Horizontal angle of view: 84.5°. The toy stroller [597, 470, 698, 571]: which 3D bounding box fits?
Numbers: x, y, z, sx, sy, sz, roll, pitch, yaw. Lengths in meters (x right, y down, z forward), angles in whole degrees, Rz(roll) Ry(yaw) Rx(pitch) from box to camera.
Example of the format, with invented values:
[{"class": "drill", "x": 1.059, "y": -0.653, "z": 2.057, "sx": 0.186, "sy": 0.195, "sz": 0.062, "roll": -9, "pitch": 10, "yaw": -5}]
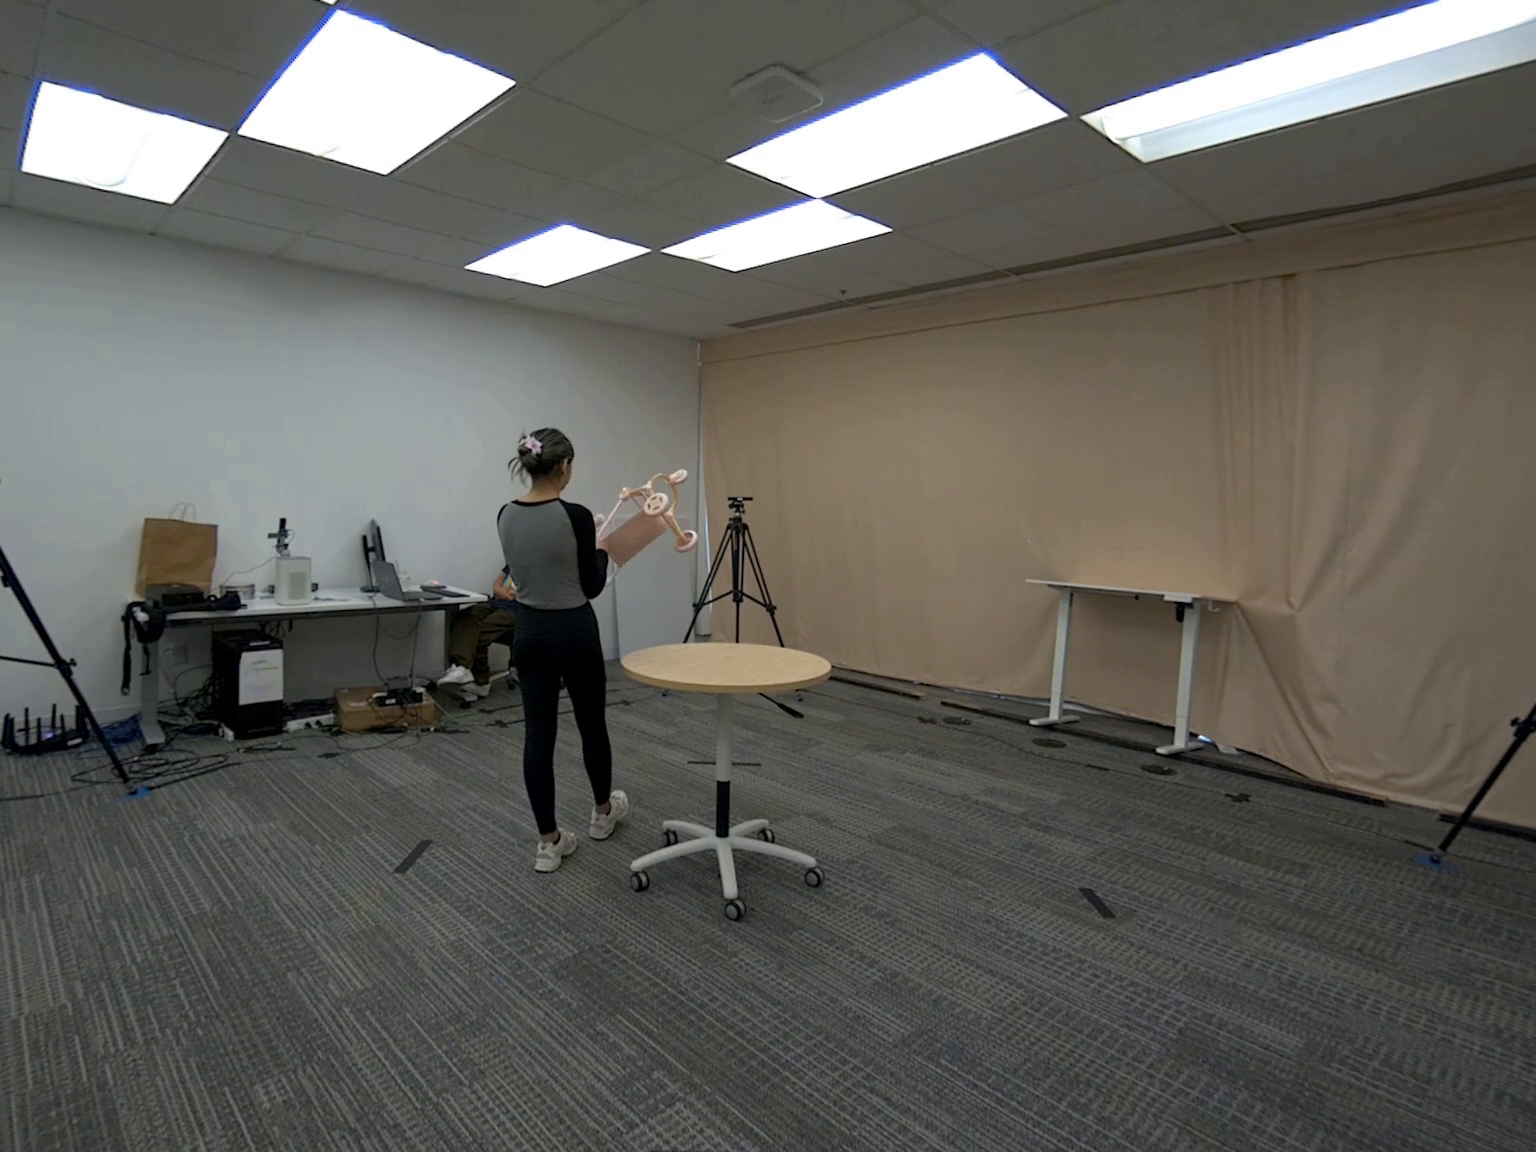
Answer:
[{"class": "toy stroller", "x": -0.561, "y": -0.224, "z": 3.532, "sx": 0.537, "sy": 0.351, "sz": 0.272, "roll": -28, "pitch": -40, "yaw": 10}]
